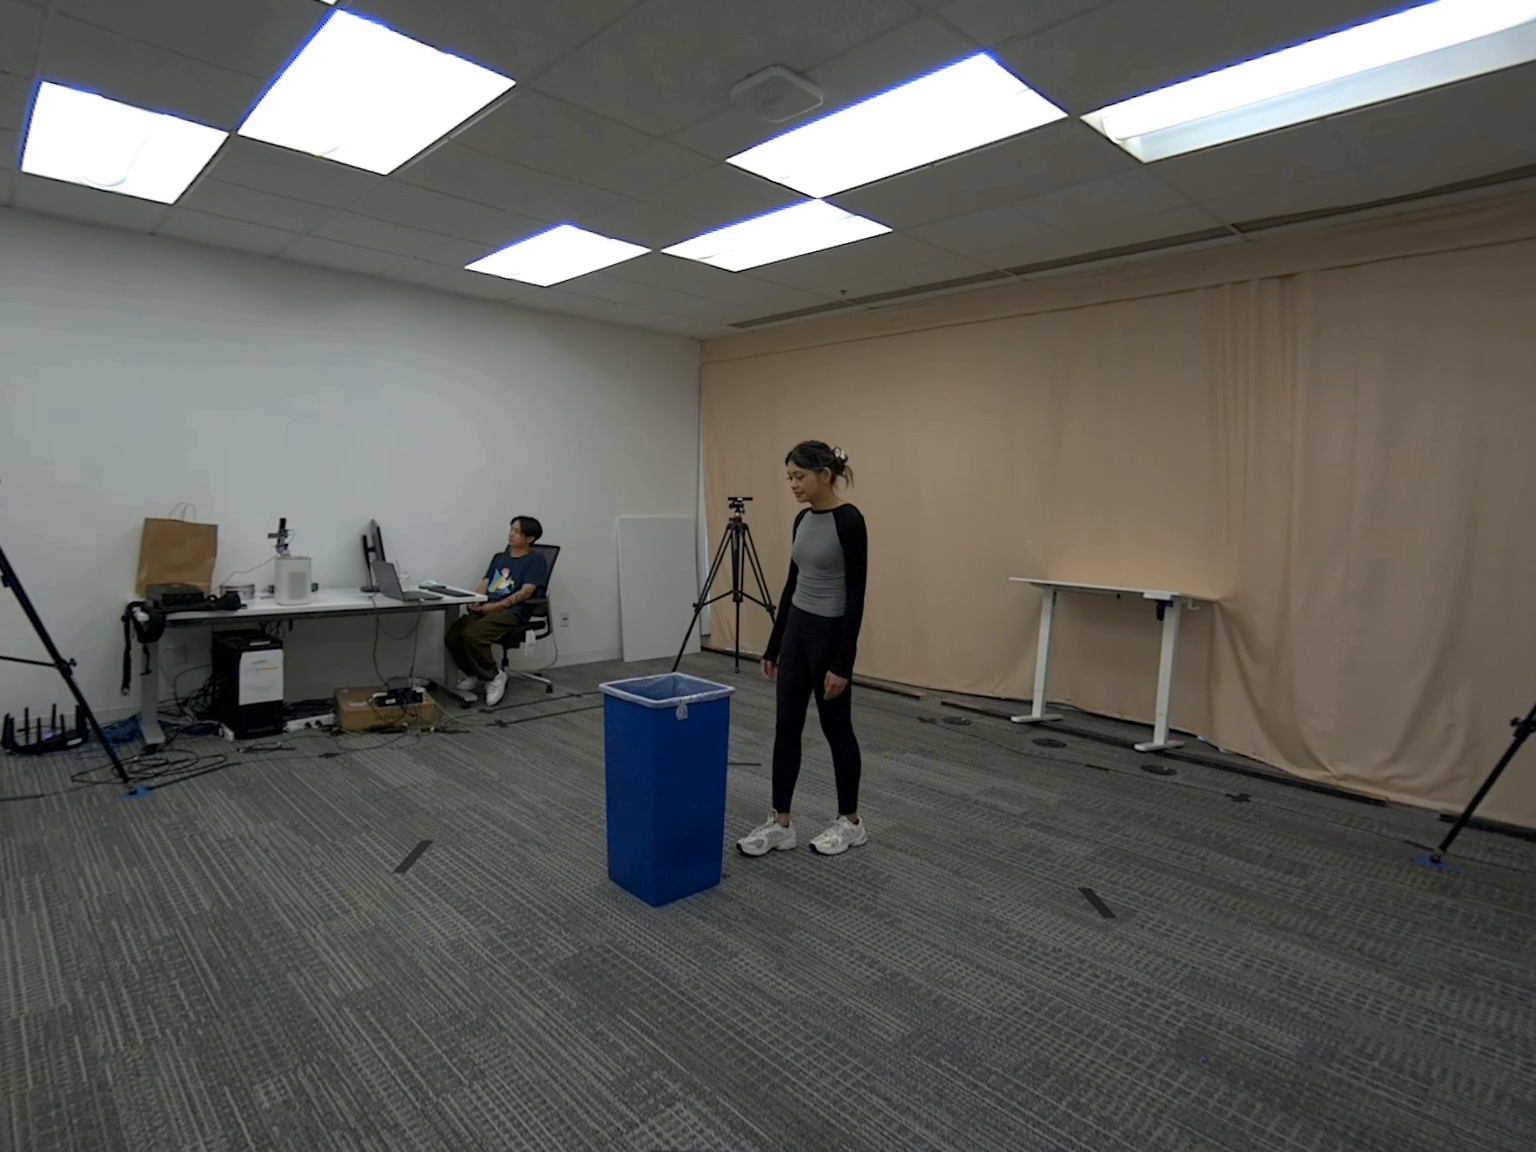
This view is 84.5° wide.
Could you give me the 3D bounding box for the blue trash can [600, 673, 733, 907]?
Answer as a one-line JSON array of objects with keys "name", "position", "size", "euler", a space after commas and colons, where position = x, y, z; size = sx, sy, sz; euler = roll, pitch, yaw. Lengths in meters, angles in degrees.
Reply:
[{"name": "blue trash can", "position": [-0.384, 0.751, 3.040], "size": [0.369, 0.712, 0.384], "euler": [-2, 5, -43]}]
